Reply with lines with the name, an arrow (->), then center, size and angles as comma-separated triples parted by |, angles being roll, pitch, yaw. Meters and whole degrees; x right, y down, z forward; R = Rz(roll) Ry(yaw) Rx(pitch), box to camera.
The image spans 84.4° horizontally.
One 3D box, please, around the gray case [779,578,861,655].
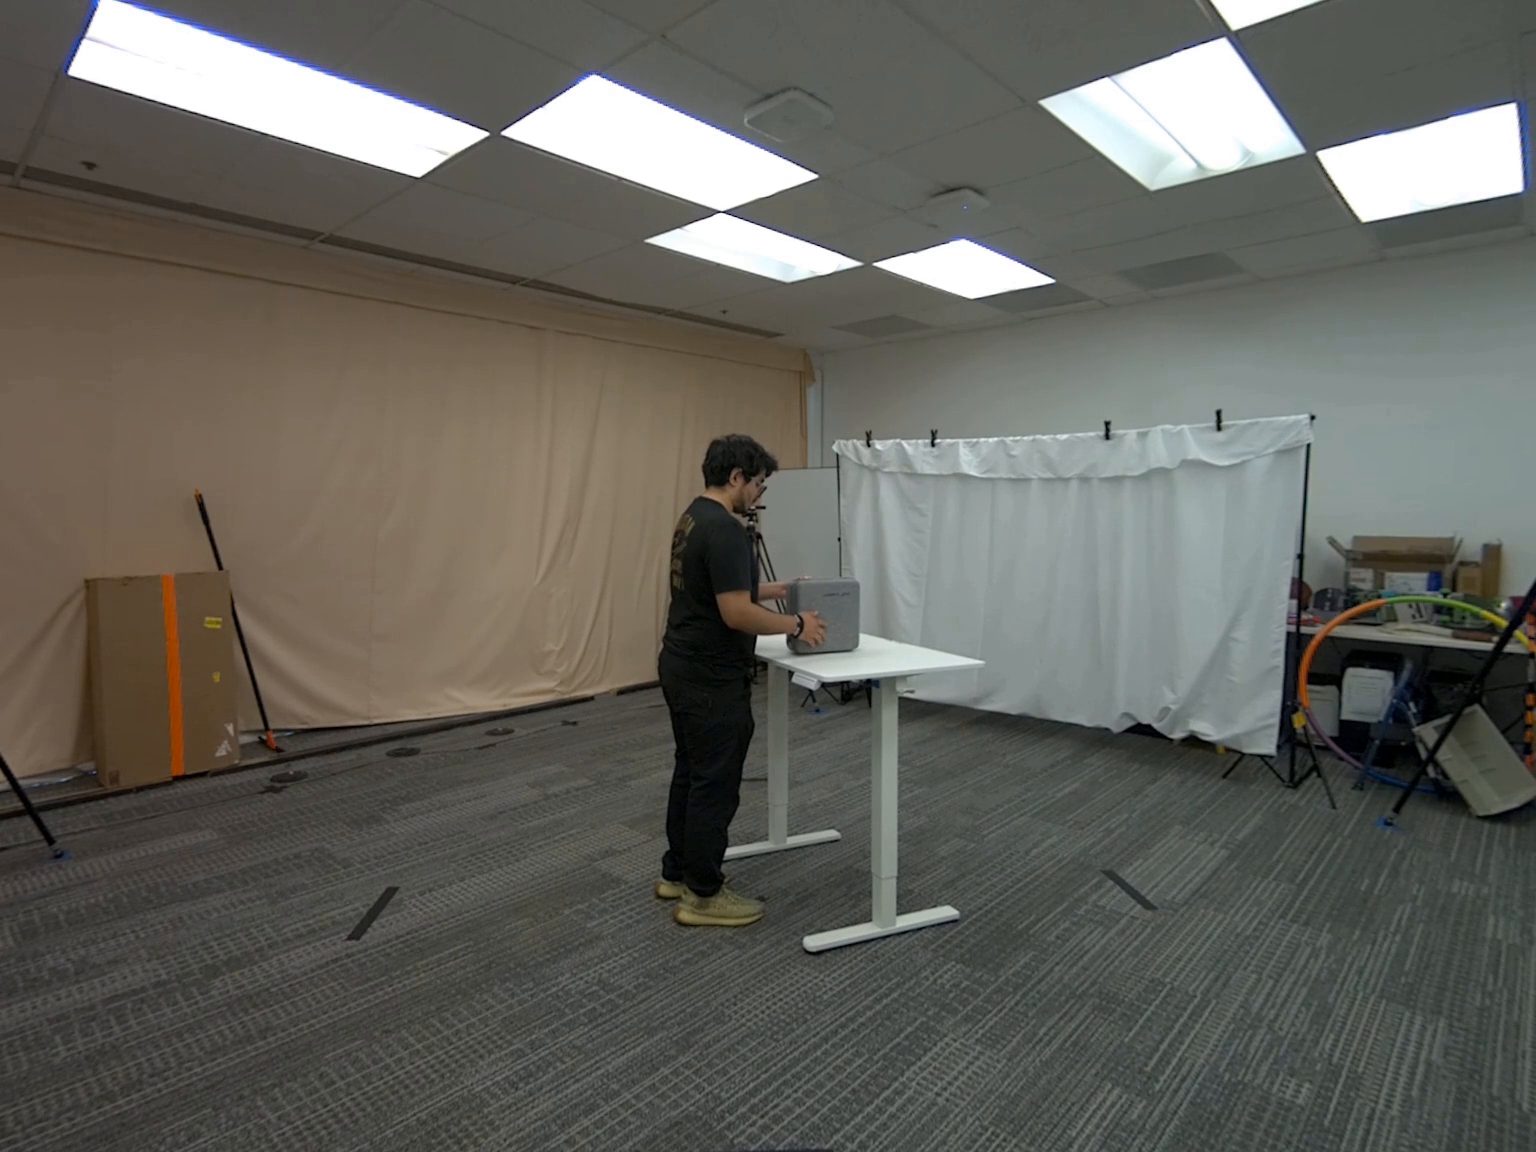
gray case -> 0.195, 0.133, 2.909 | 0.252, 0.260, 0.106 | 0, 2, -20
